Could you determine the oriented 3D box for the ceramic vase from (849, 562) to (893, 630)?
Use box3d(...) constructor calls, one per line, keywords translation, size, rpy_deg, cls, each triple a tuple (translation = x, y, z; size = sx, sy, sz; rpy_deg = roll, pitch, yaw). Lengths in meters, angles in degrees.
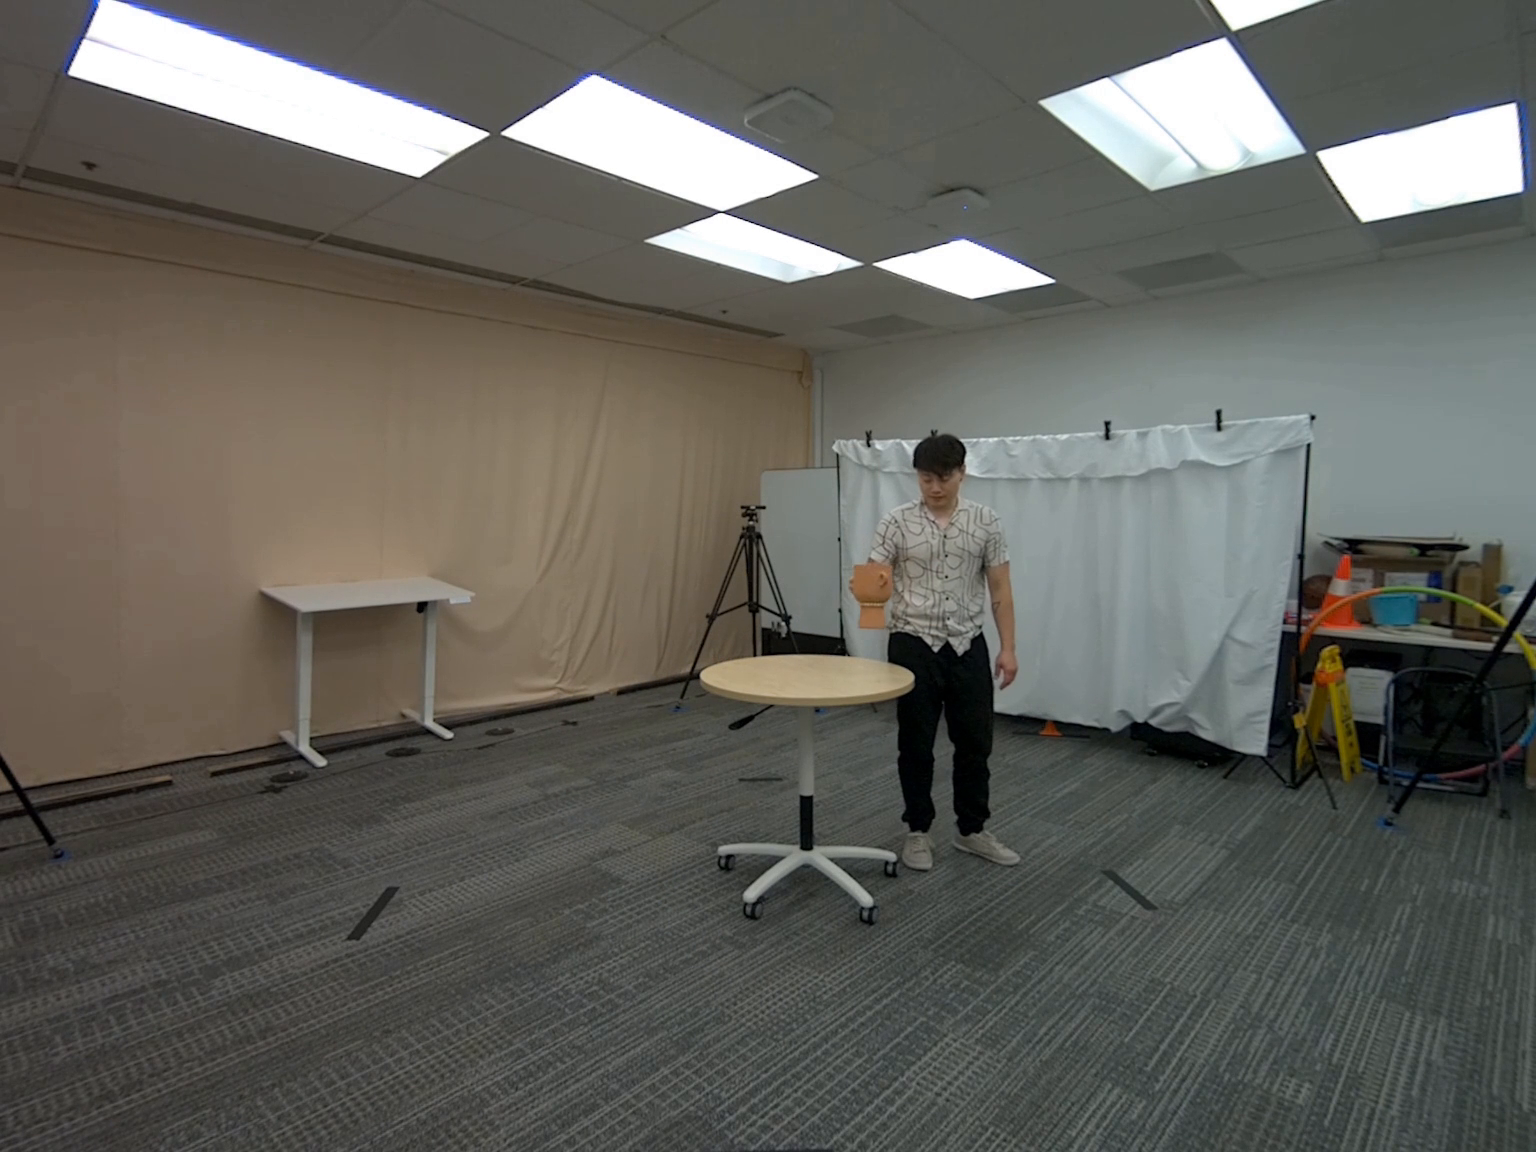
box3d(translation=(0.363, 0.076, 2.939), size=(0.138, 0.220, 0.155), rpy_deg=(0, -2, 21), cls="ceramic vase")
